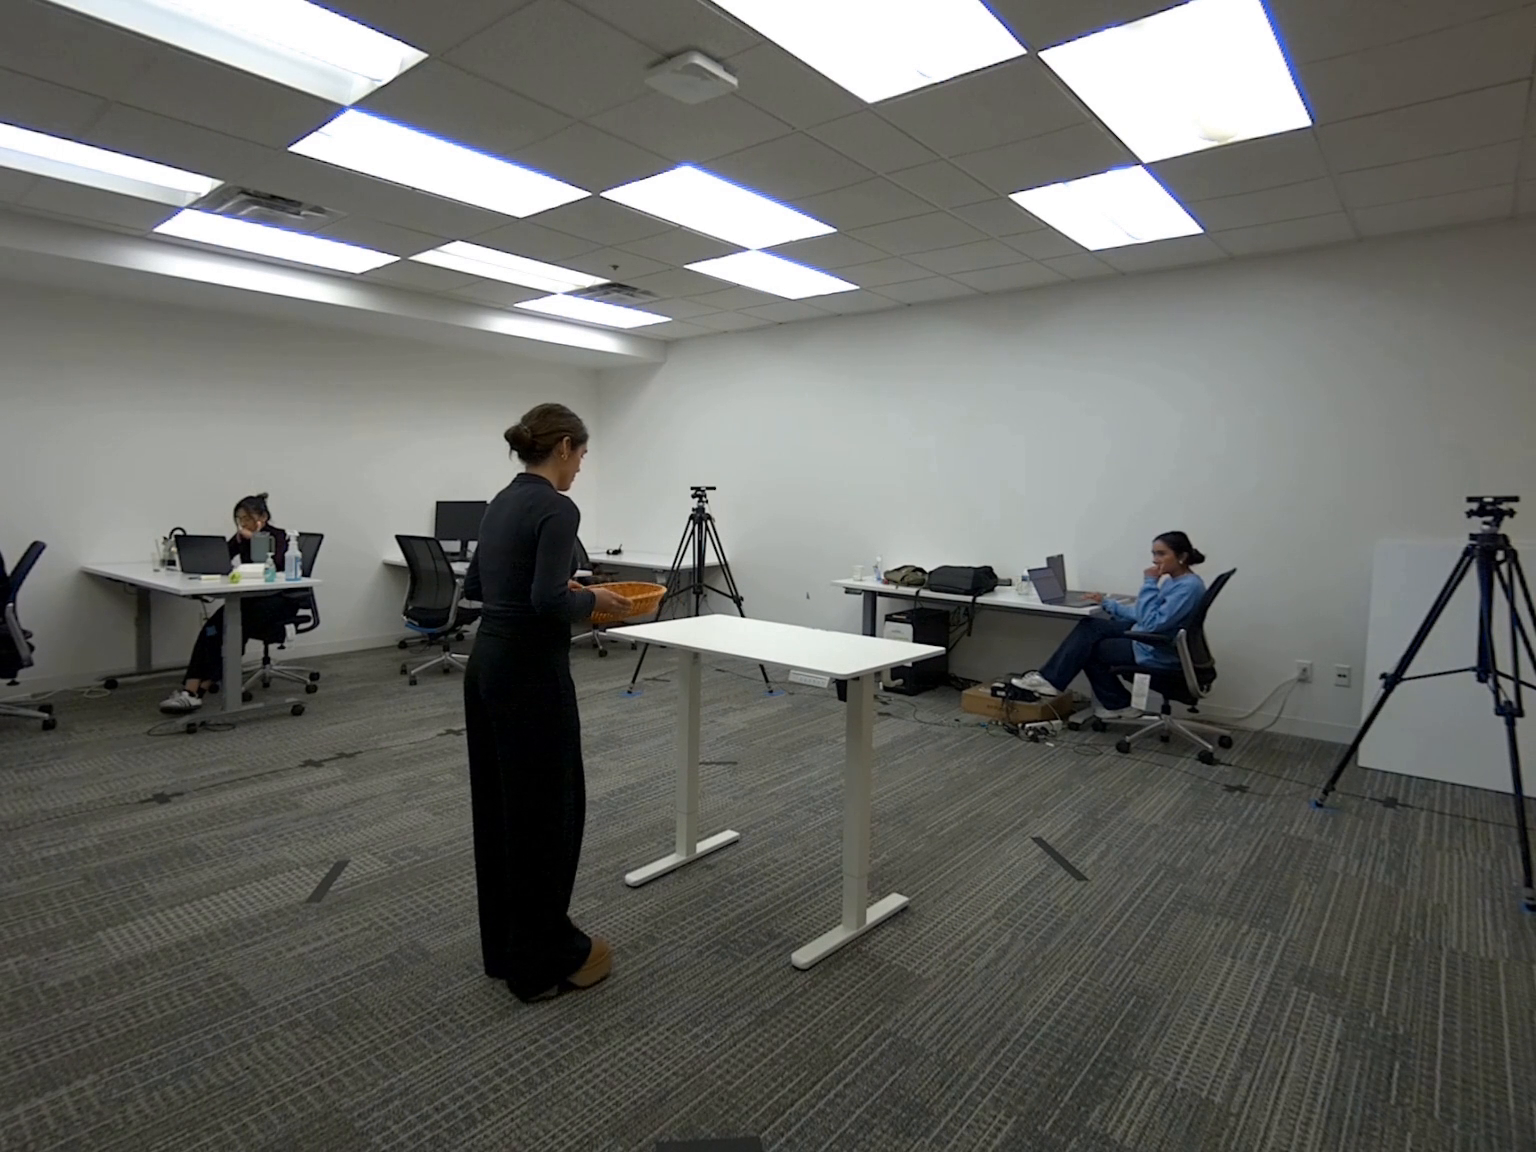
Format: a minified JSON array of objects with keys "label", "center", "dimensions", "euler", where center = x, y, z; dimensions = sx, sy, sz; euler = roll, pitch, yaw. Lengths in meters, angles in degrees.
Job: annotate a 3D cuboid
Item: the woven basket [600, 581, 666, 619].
[{"label":"woven basket","center":[-0.492,0.078,2.594],"dimensions":[0.259,0.073,0.344],"euler":[5,9,22]}]
